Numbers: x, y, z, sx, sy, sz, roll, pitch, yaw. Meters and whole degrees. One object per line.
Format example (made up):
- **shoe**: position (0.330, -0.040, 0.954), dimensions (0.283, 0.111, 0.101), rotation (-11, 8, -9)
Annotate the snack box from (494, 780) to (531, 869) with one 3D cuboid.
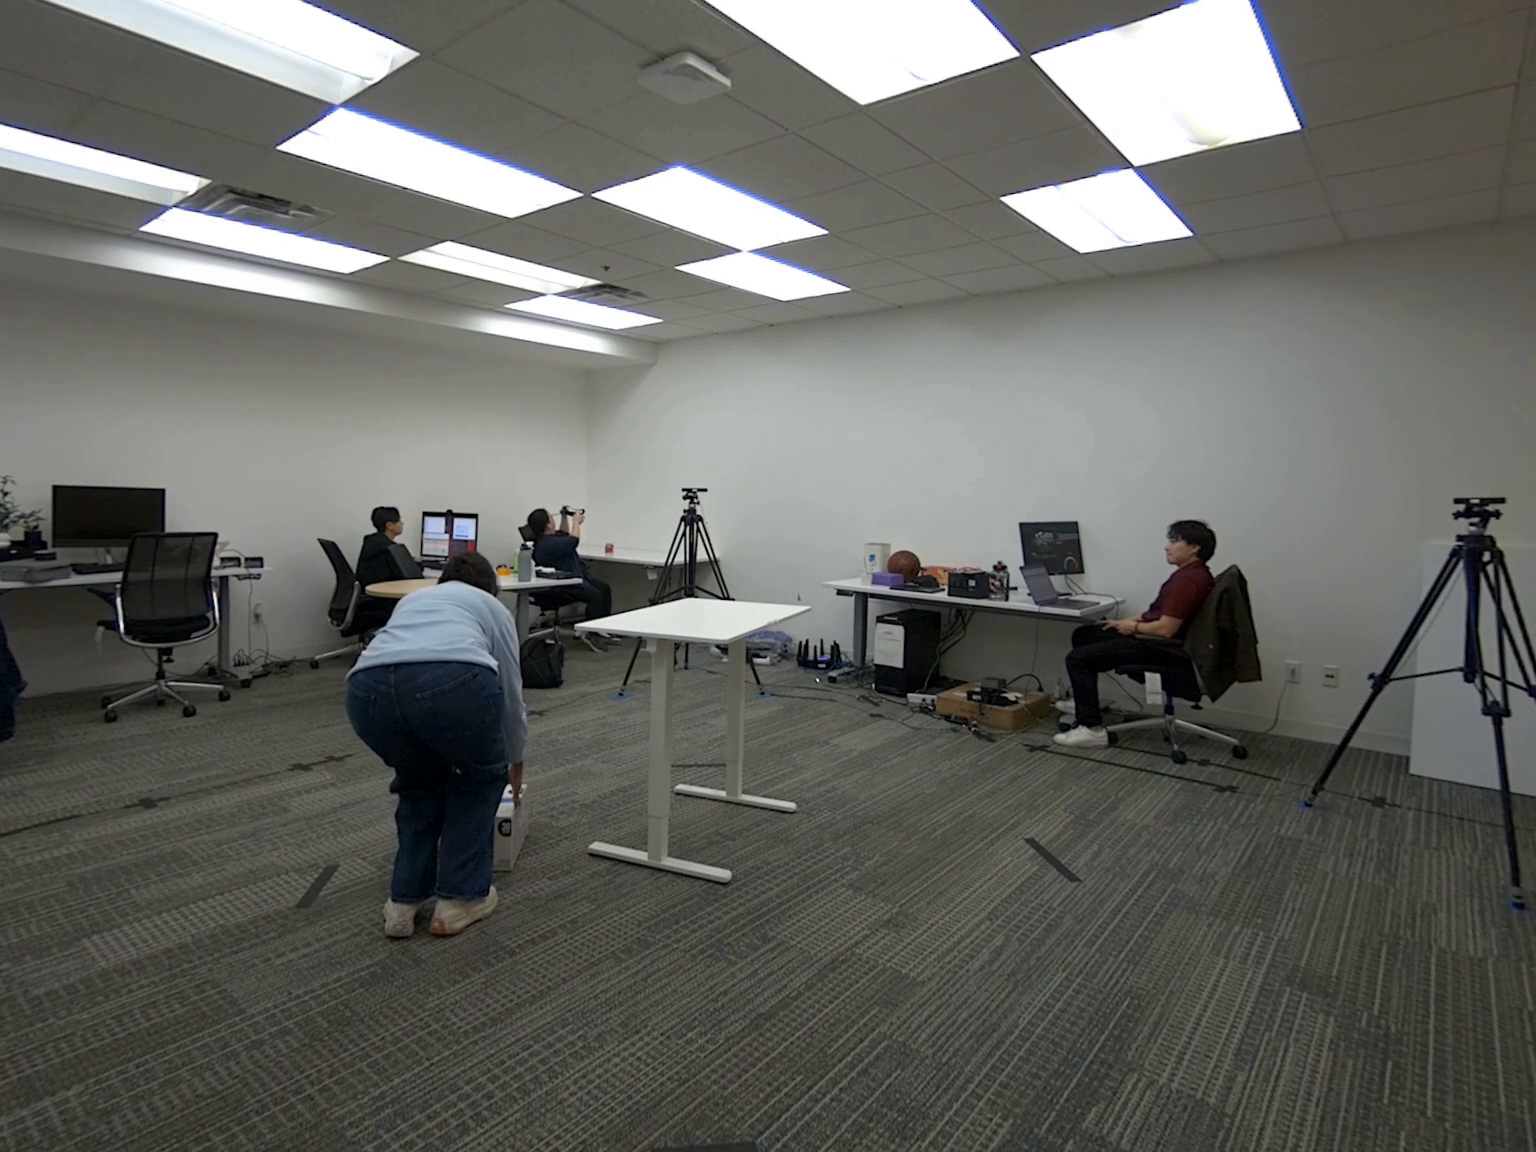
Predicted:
- **snack box**: position (-1.139, 0.938, 3.202), dimensions (0.403, 0.205, 0.343), rotation (0, 5, -5)
